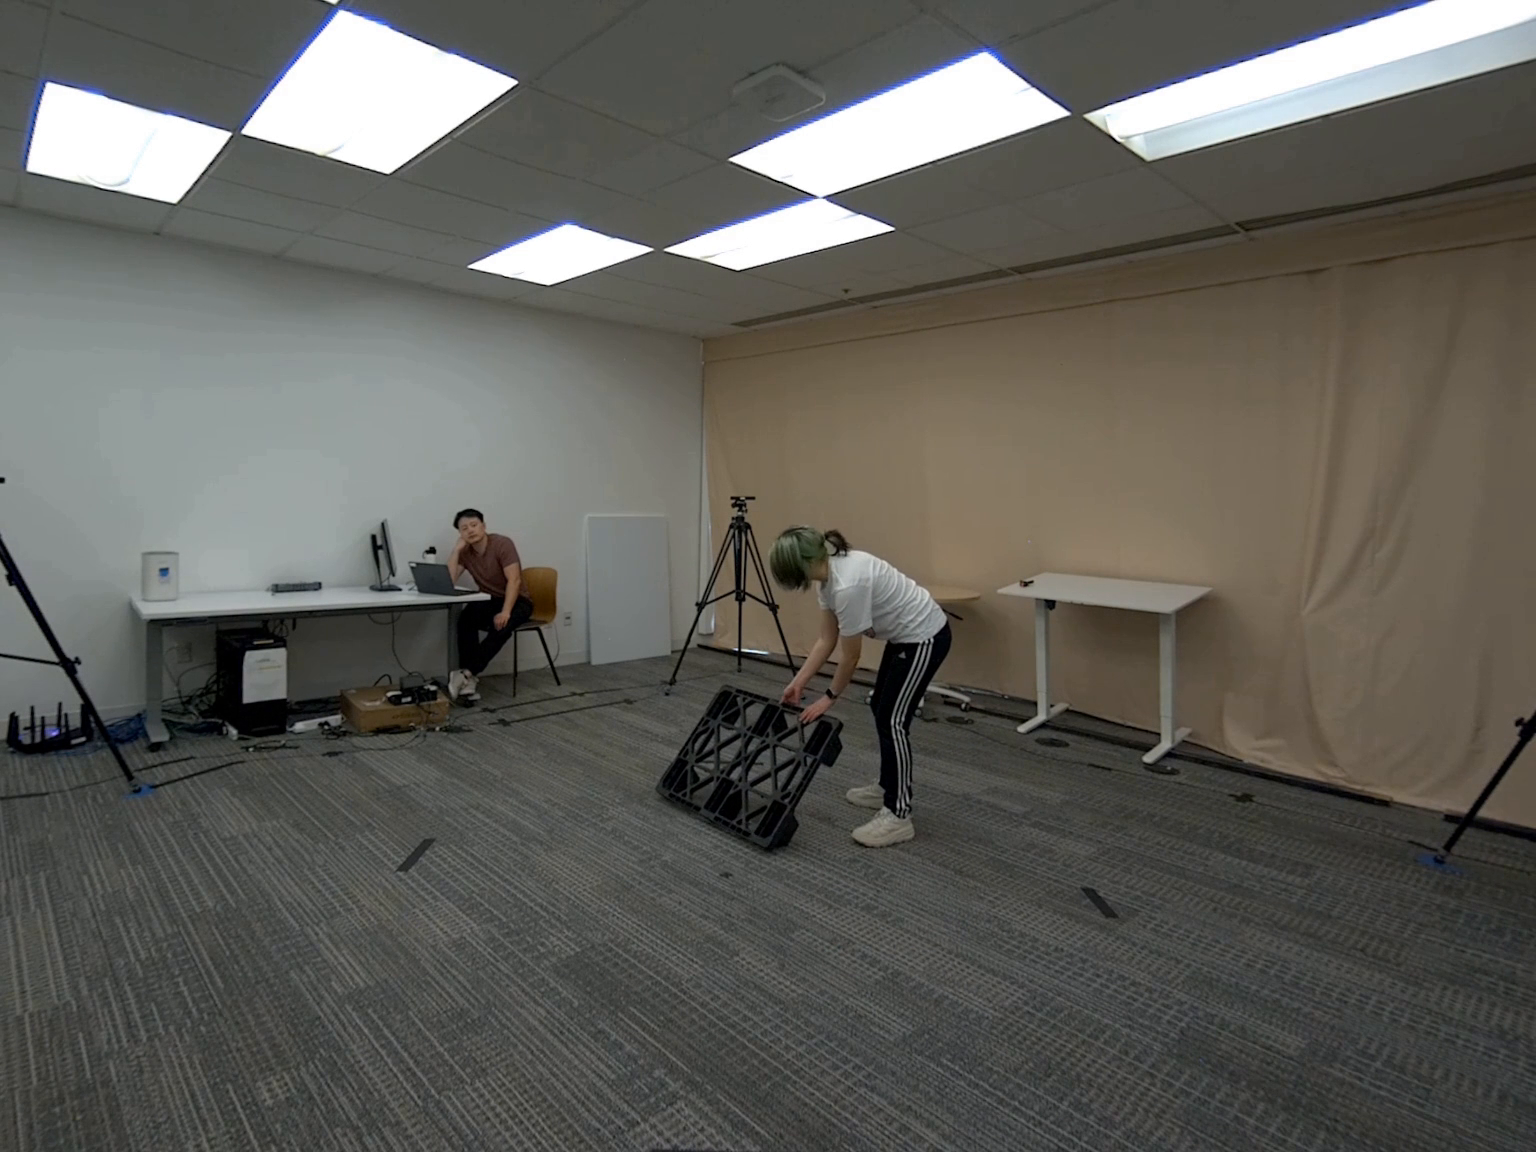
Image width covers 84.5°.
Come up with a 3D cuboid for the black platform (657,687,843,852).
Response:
[{"bbox_3d":[-0.084,0.833,3.711,0.826,0.607,0.139,7,-33,50],"label":"black platform"}]
